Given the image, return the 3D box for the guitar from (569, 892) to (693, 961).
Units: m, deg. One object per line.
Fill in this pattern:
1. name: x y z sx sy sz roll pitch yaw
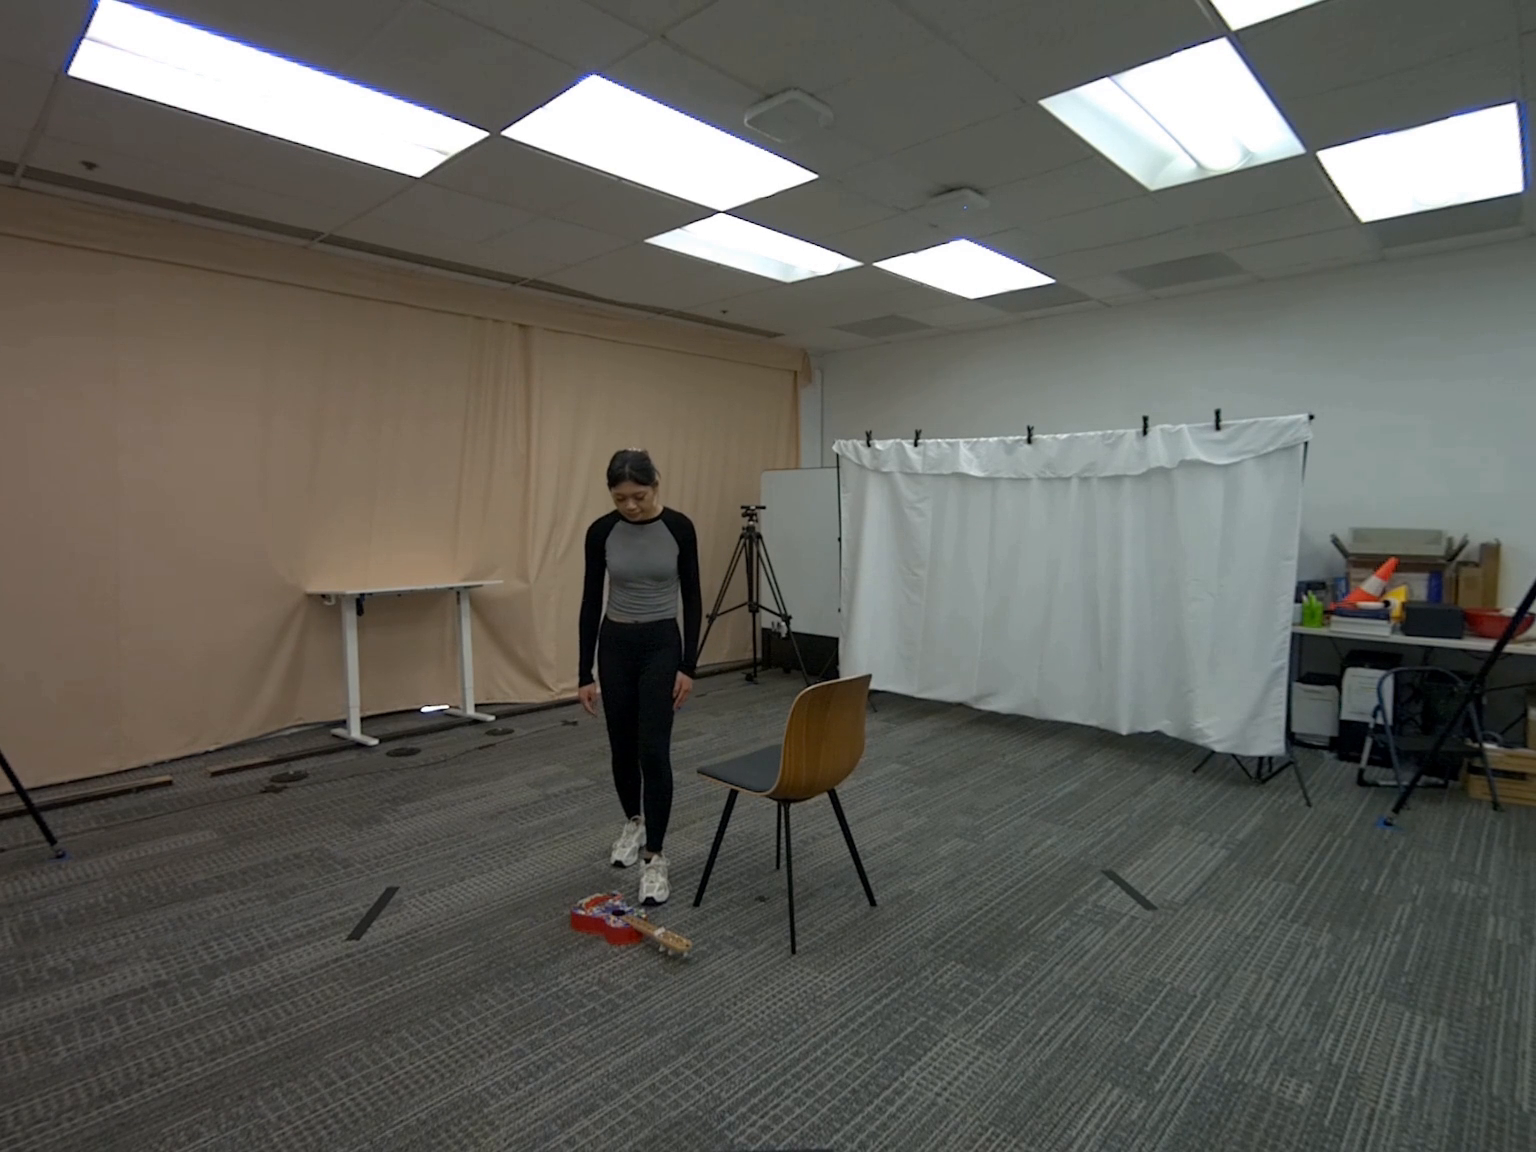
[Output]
1. guitar: -0.451 1.133 2.700 0.187 0.070 0.514 -4 6 -40
